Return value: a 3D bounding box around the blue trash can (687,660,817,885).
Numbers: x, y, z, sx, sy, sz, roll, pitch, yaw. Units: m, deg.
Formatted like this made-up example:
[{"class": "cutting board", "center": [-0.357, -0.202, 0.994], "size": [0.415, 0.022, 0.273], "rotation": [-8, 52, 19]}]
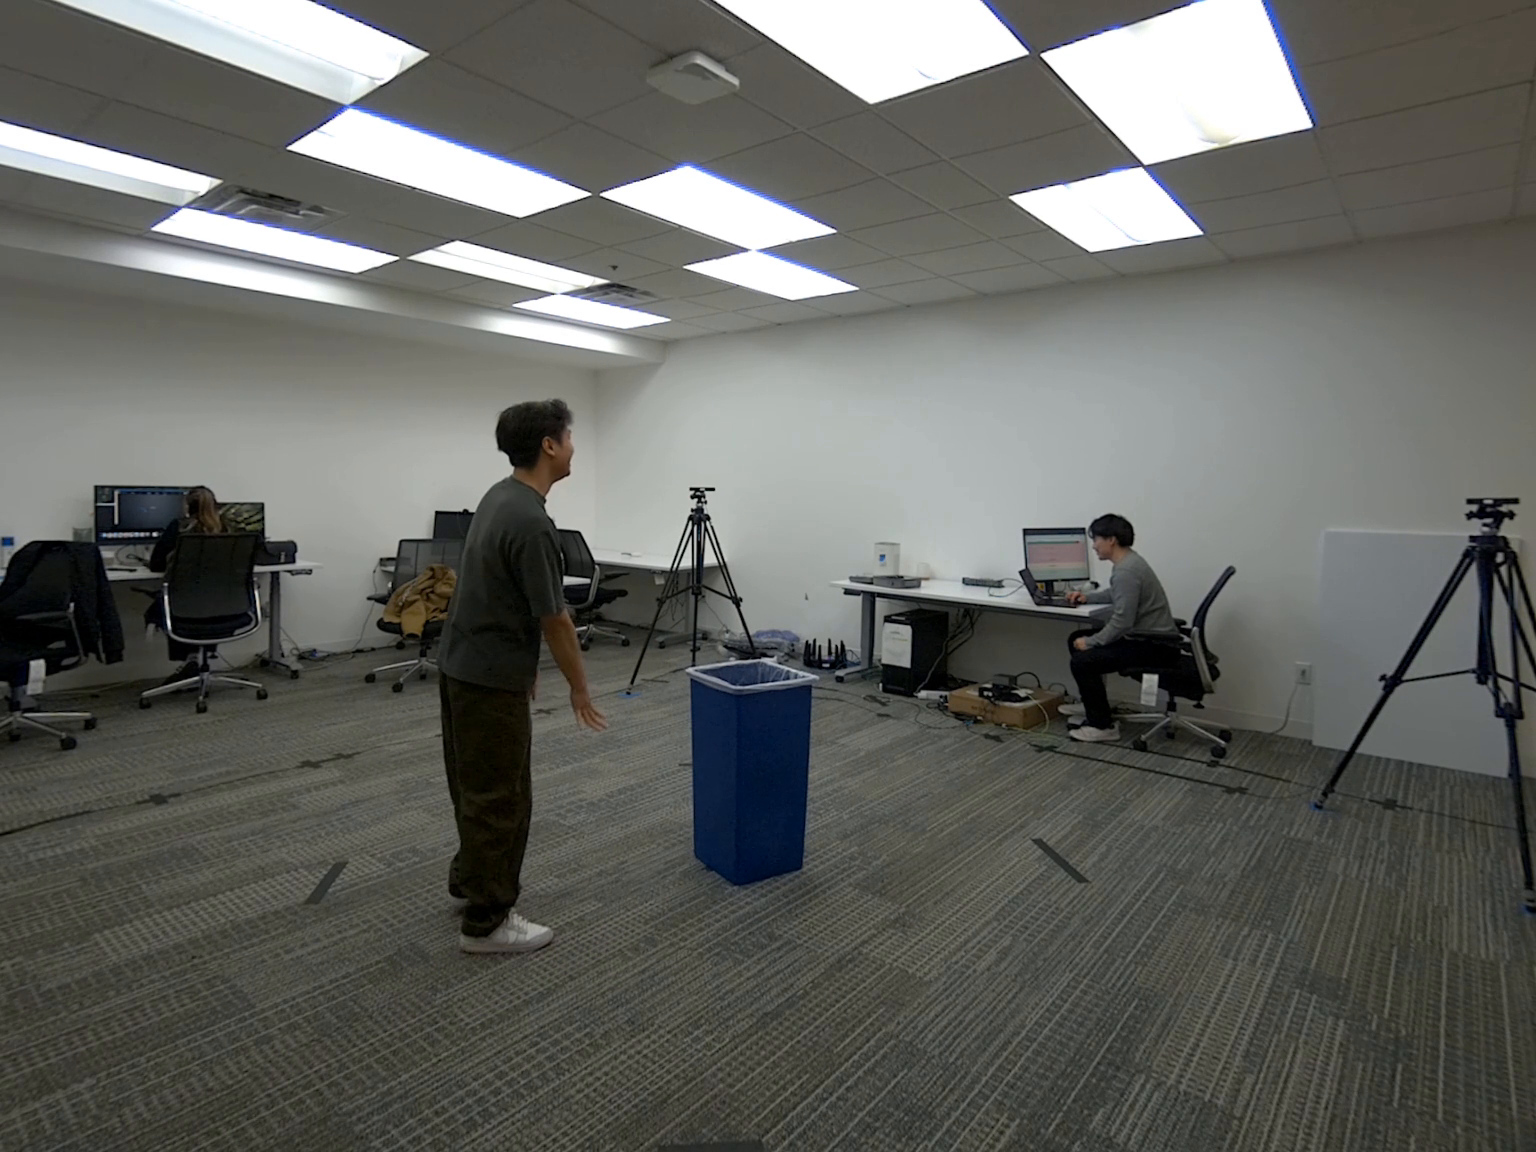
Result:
[{"class": "blue trash can", "center": [-0.082, 0.706, 3.147], "size": [0.363, 0.712, 0.390], "rotation": [-1, 4, -35]}]
